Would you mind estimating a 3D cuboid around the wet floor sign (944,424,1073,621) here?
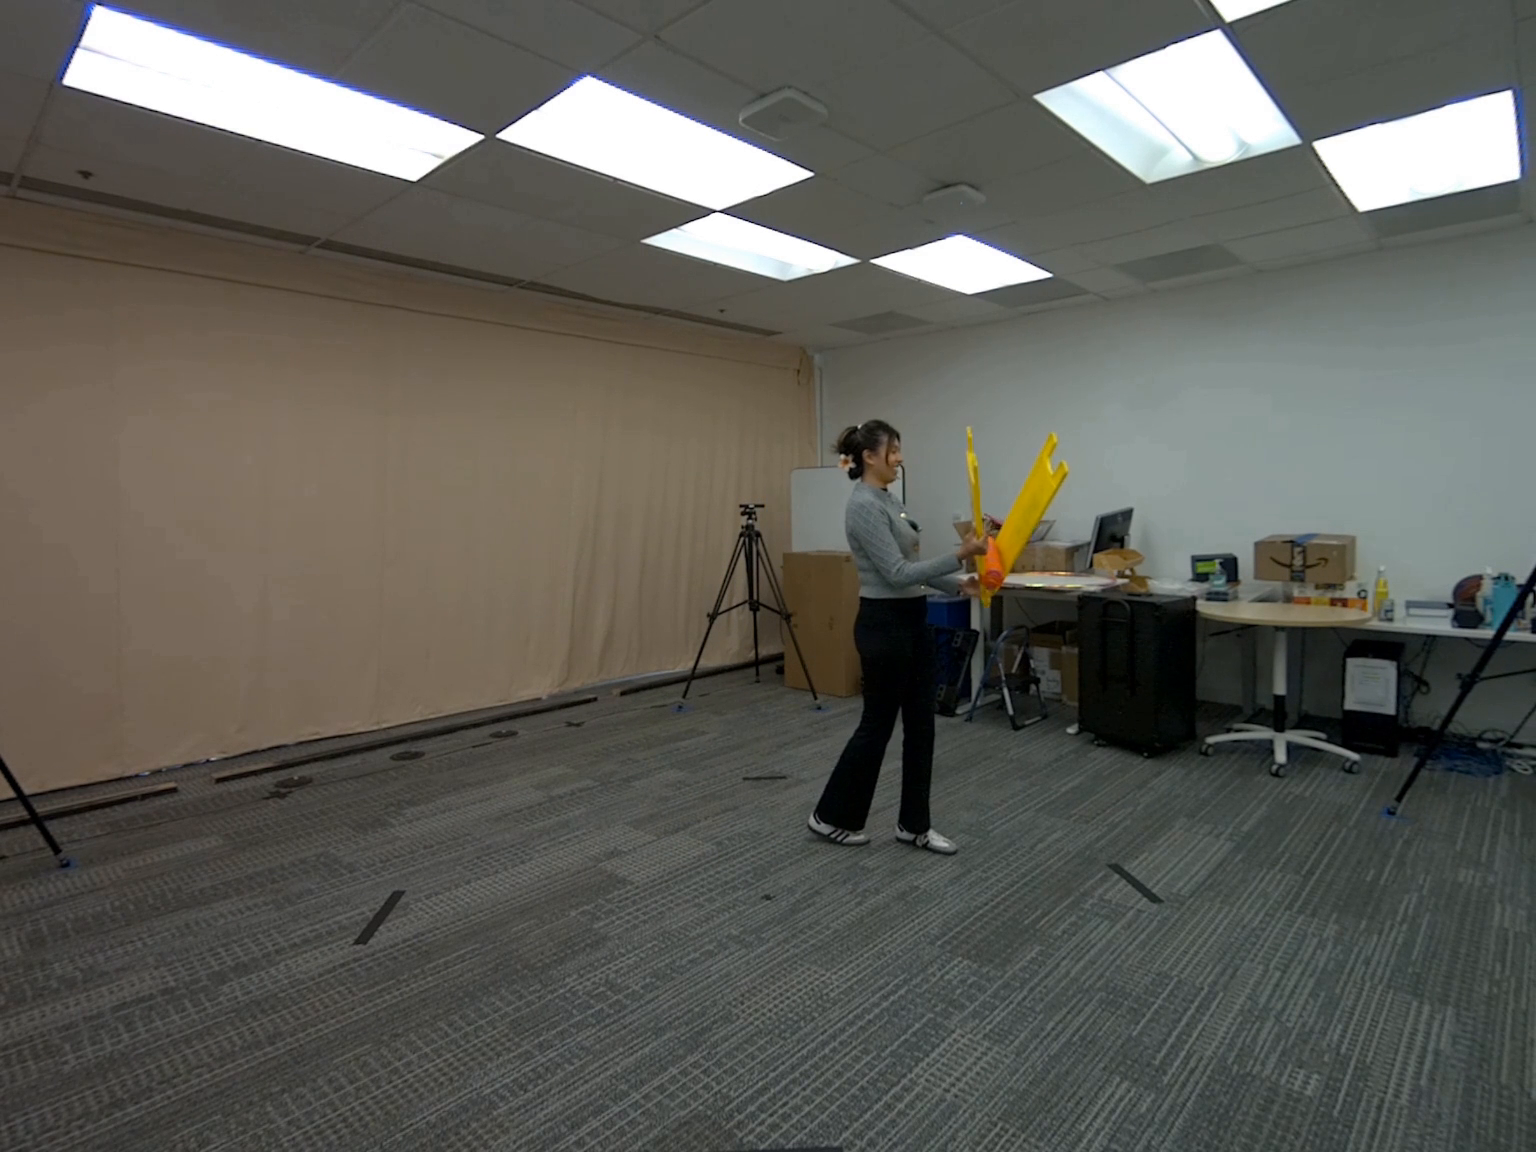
[{"bbox_3d":[0.848,-0.191,3.097,0.291,0.635,0.285,6,36,4],"label":"wet floor sign"}]
